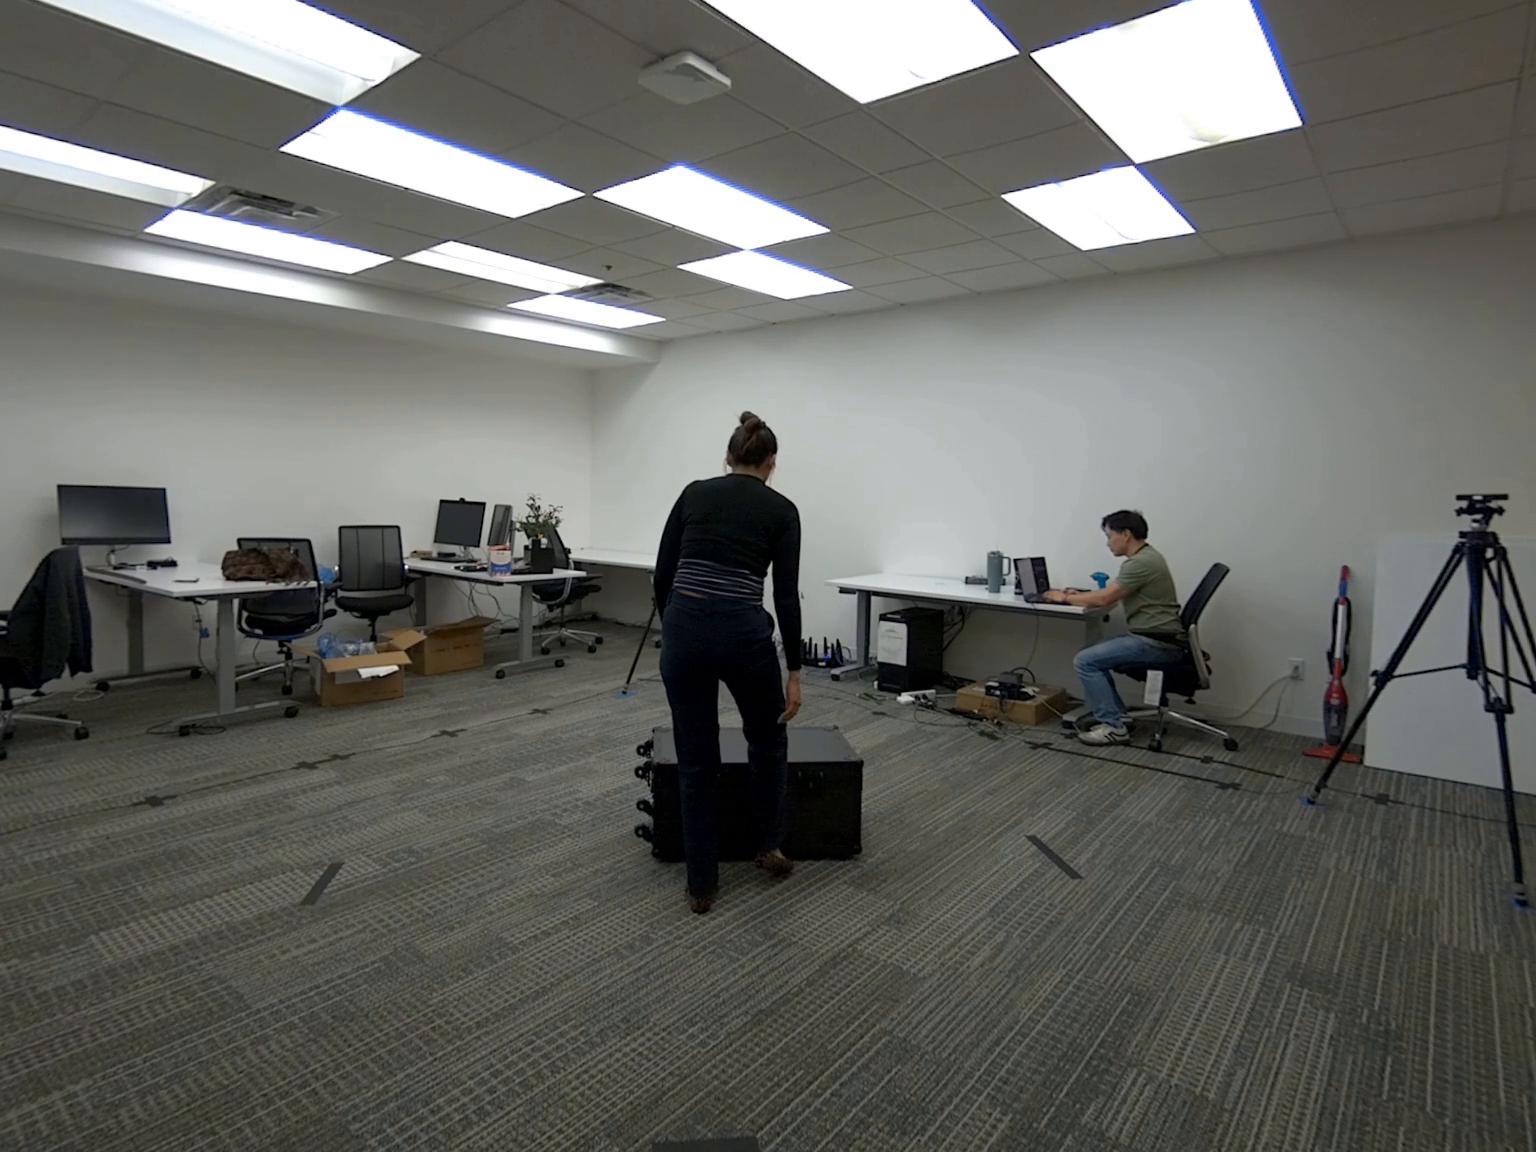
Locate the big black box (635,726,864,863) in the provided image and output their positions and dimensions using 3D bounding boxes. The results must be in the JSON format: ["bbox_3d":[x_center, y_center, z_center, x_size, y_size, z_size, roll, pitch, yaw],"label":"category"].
[{"bbox_3d":[-0.109,0.845,3.394,0.857,0.395,0.526,0,5,-5],"label":"big black box"}]
